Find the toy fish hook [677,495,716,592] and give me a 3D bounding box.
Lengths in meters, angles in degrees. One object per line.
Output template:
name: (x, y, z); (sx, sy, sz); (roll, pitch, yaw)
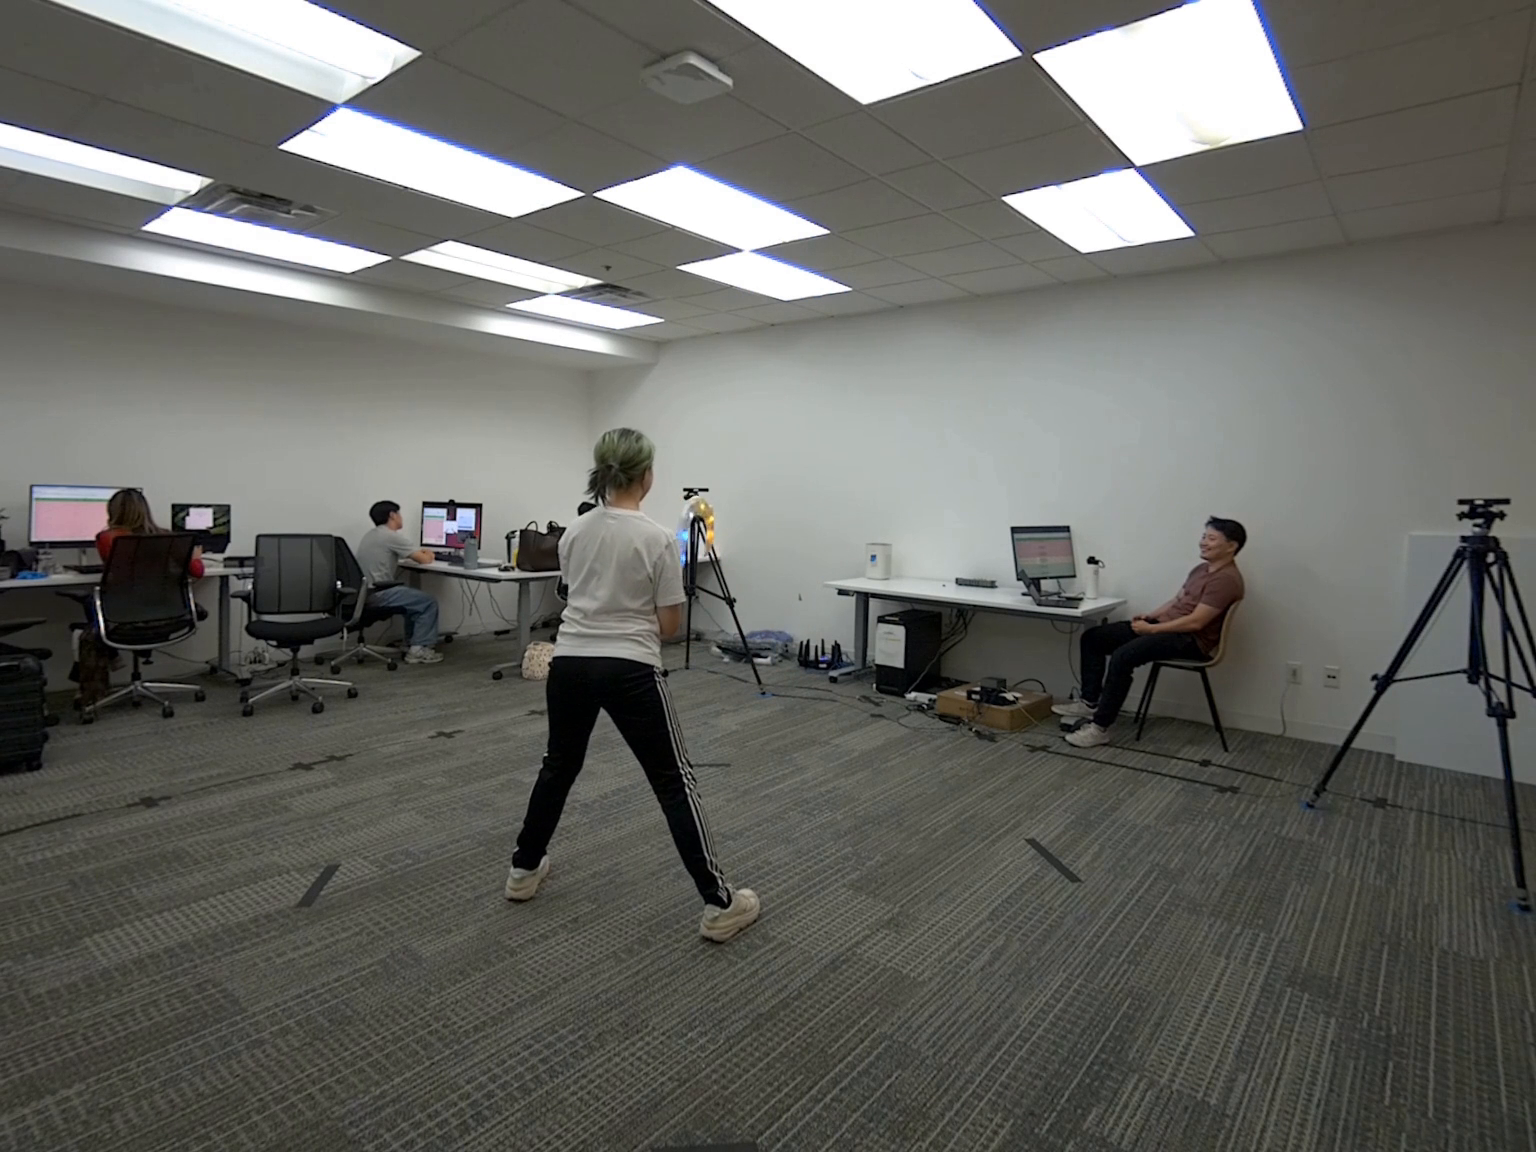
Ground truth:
toy fish hook: (-0.305, -0.054, 3.170); (0.050, 0.513, 0.215); (1, -26, 36)
